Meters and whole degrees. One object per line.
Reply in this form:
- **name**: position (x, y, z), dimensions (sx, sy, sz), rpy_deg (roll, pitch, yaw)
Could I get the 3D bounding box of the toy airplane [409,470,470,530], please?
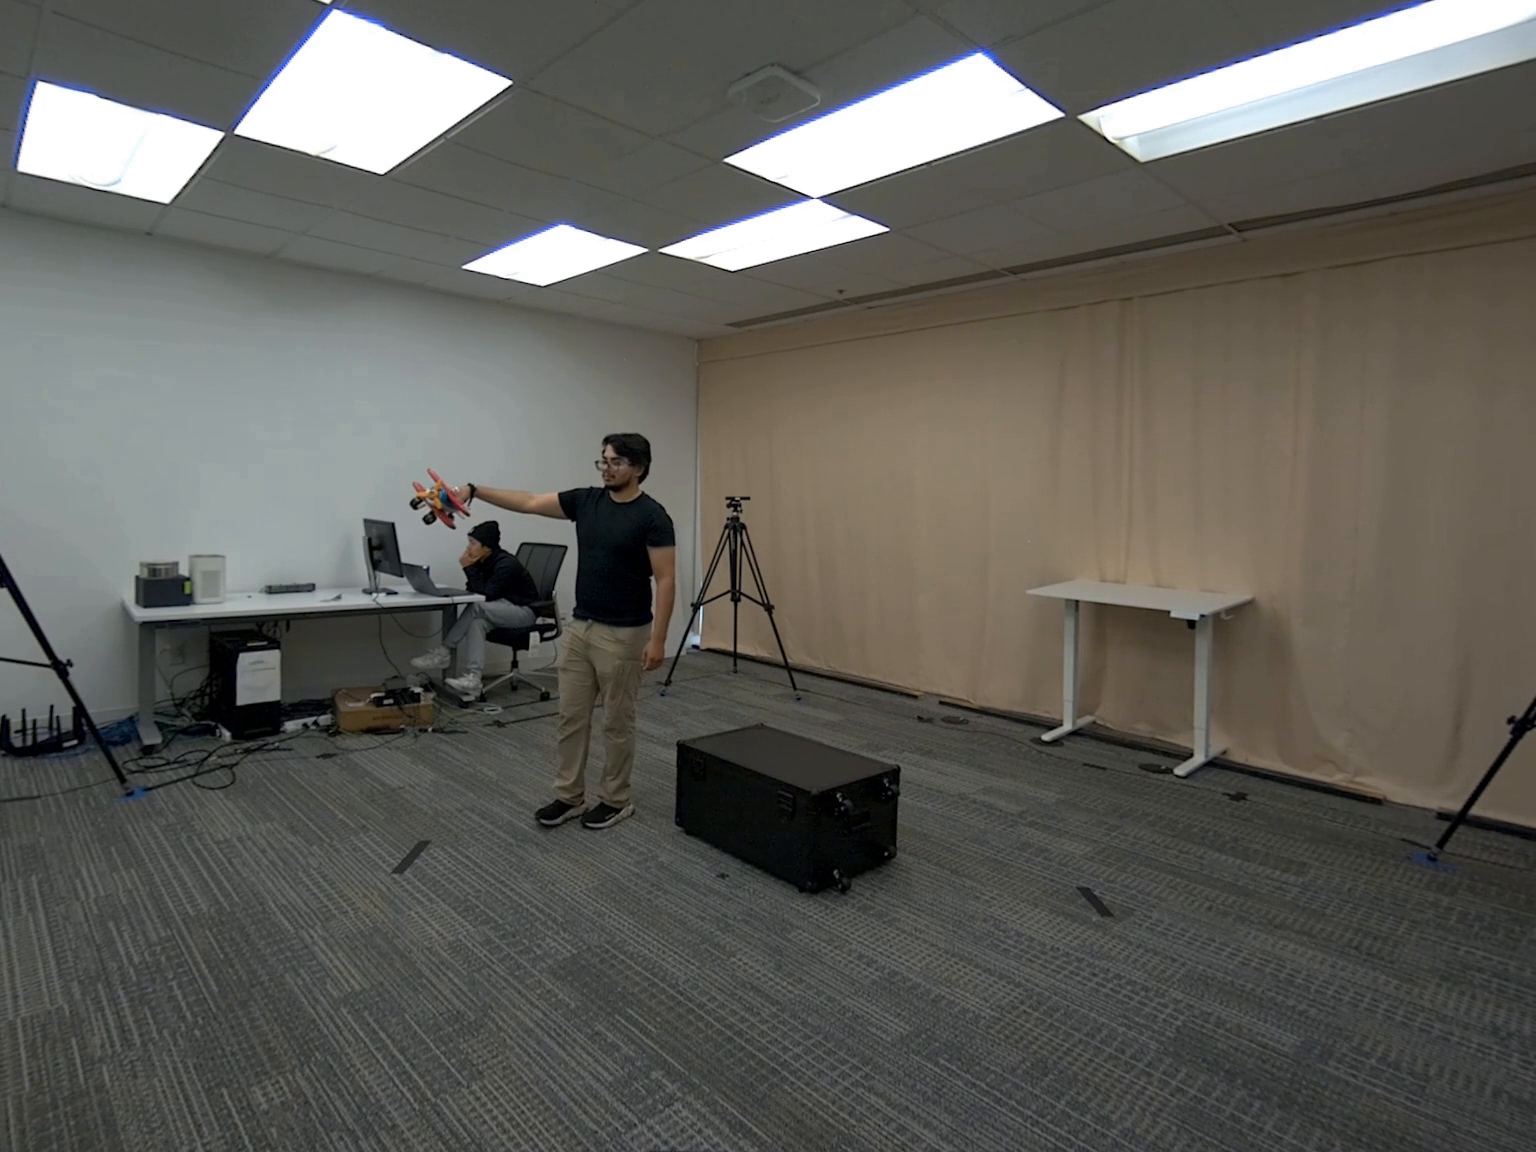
- **toy airplane**: position (-1.347, -0.308, 3.416), dimensions (0.246, 0.156, 0.264), rpy_deg (43, 10, -19)
